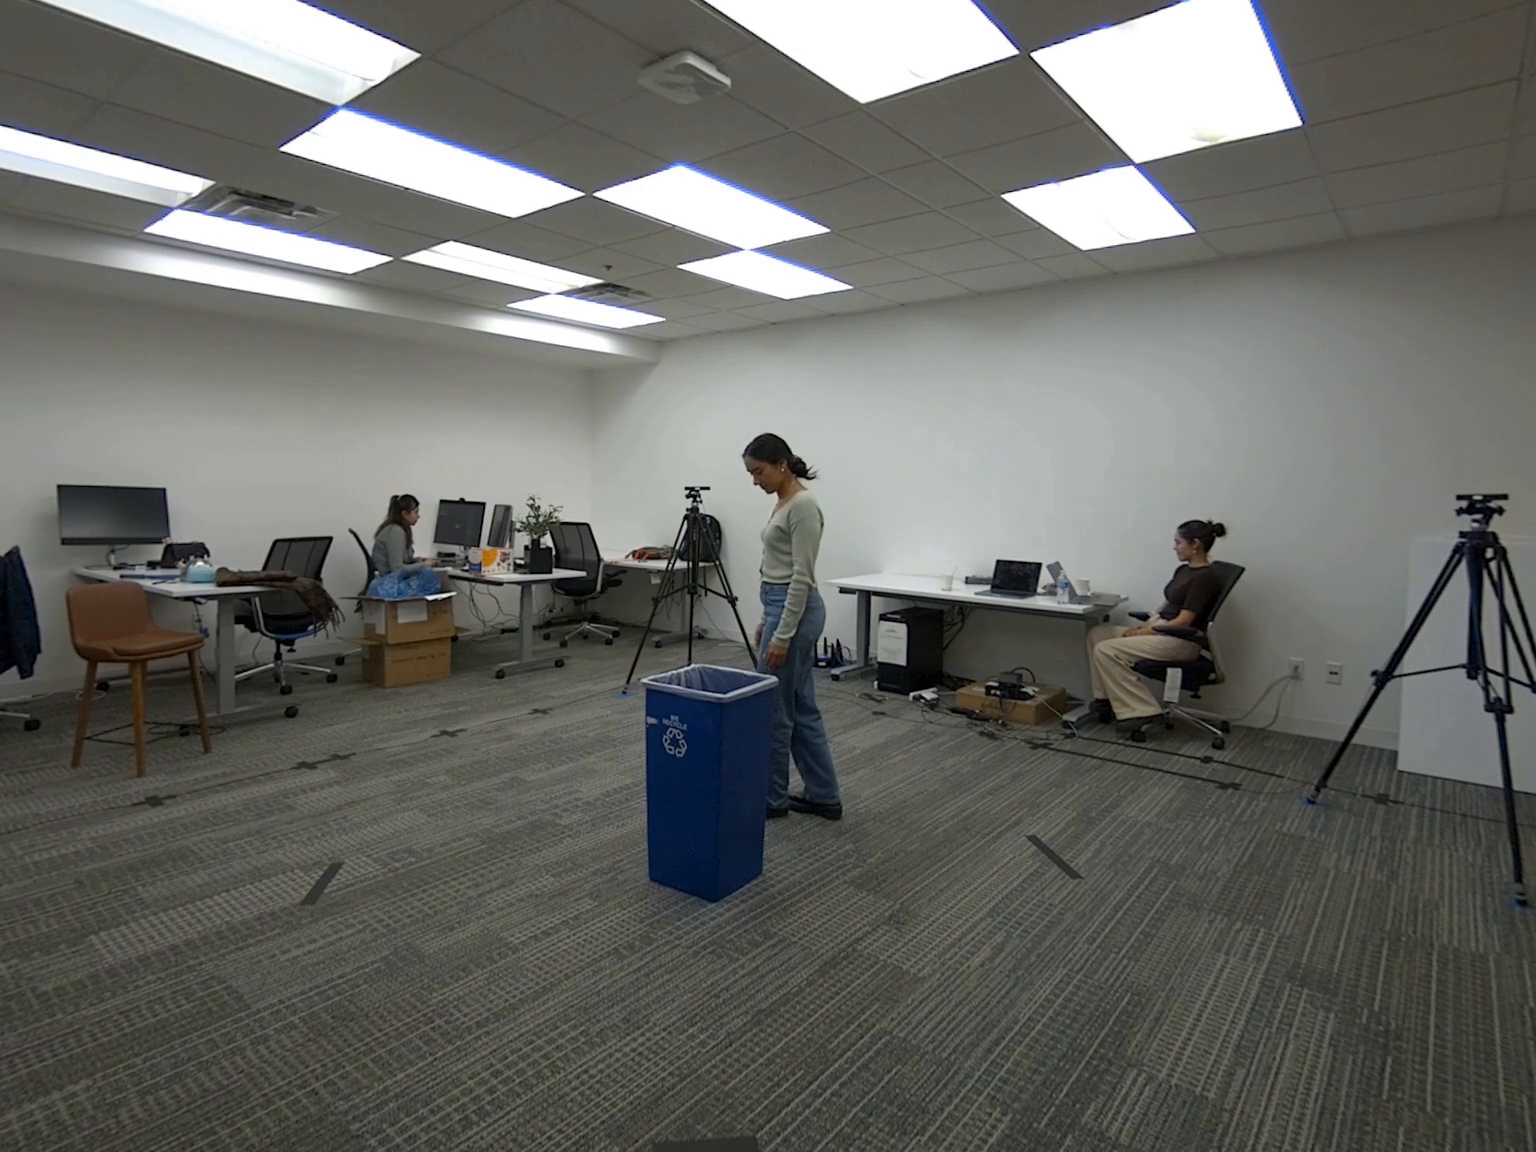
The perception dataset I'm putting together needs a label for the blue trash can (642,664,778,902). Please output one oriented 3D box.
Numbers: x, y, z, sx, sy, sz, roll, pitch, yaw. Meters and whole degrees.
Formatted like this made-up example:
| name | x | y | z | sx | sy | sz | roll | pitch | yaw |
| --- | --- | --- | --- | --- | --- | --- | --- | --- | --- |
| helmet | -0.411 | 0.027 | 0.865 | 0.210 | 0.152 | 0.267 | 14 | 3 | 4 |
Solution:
| name | x | y | z | sx | sy | sz | roll | pitch | yaw |
| --- | --- | --- | --- | --- | --- | --- | --- | --- | --- |
| blue trash can | -0.215 | 0.713 | 3.025 | 0.386 | 0.712 | 0.367 | 3 | 4 | 33 |
